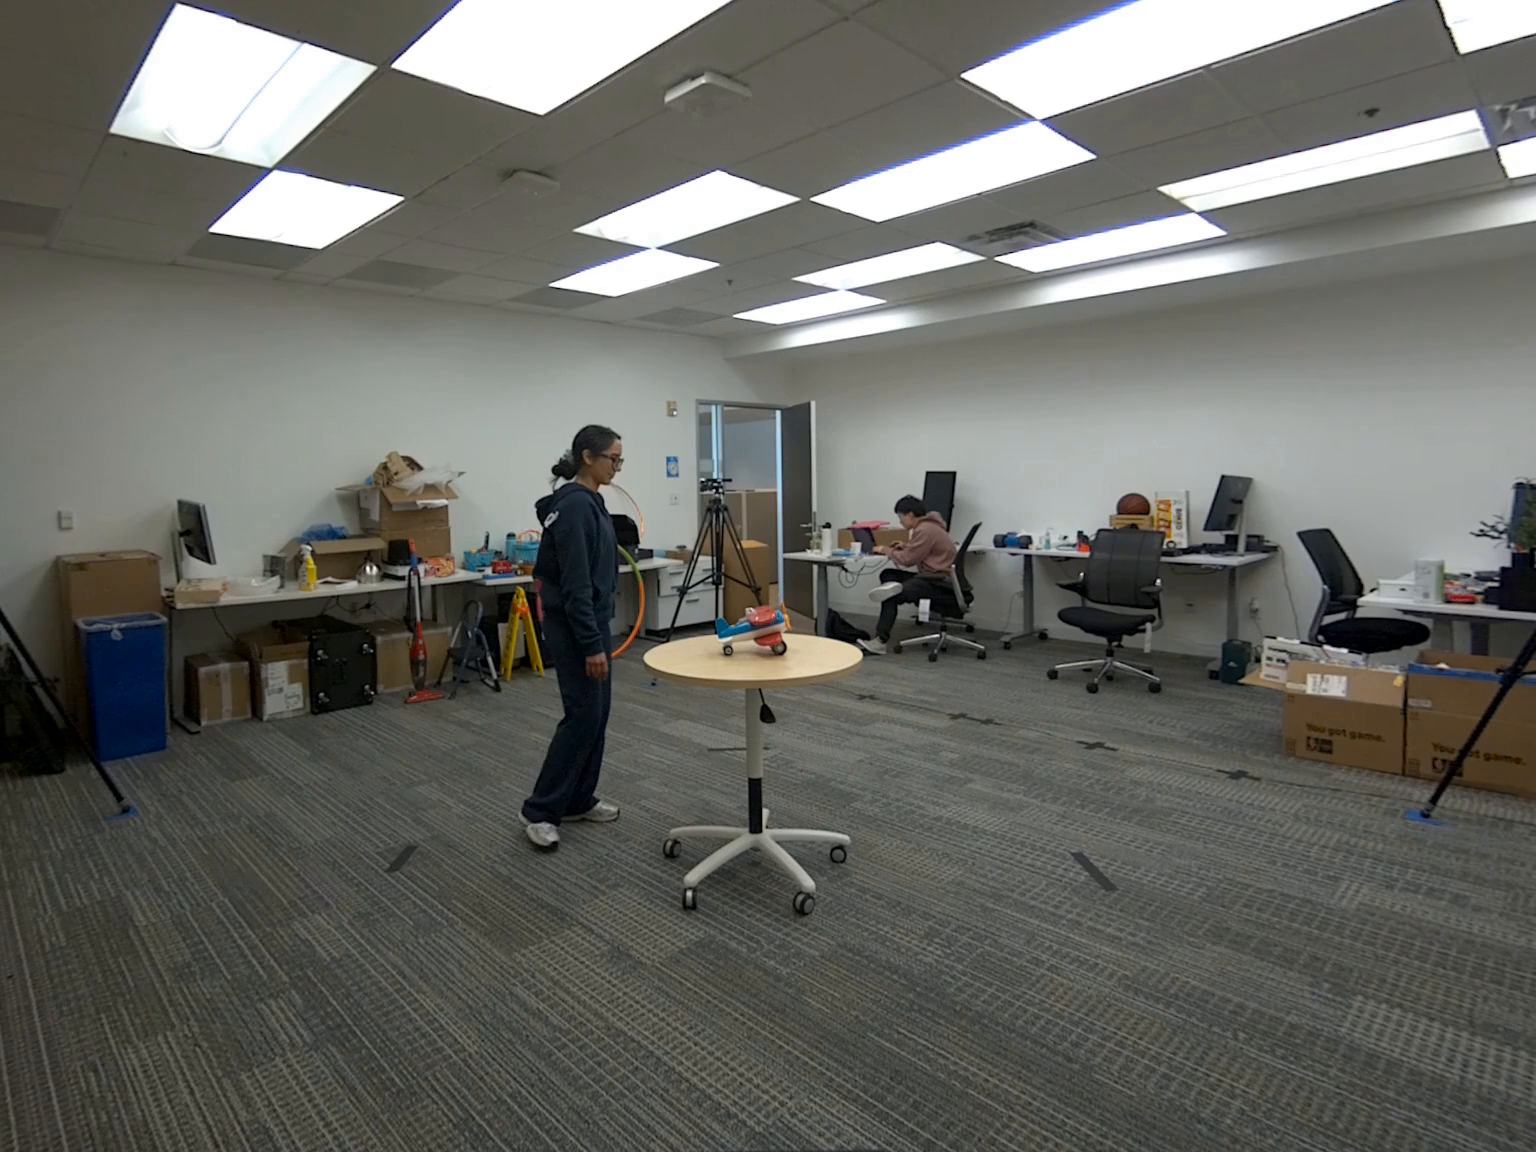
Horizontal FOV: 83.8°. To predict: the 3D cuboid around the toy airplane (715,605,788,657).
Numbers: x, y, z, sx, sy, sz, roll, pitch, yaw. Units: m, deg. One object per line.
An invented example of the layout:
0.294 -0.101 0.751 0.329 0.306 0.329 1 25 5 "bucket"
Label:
-0.048 0.202 2.984 0.253 0.156 0.258 -5 7 -30 "toy airplane"
